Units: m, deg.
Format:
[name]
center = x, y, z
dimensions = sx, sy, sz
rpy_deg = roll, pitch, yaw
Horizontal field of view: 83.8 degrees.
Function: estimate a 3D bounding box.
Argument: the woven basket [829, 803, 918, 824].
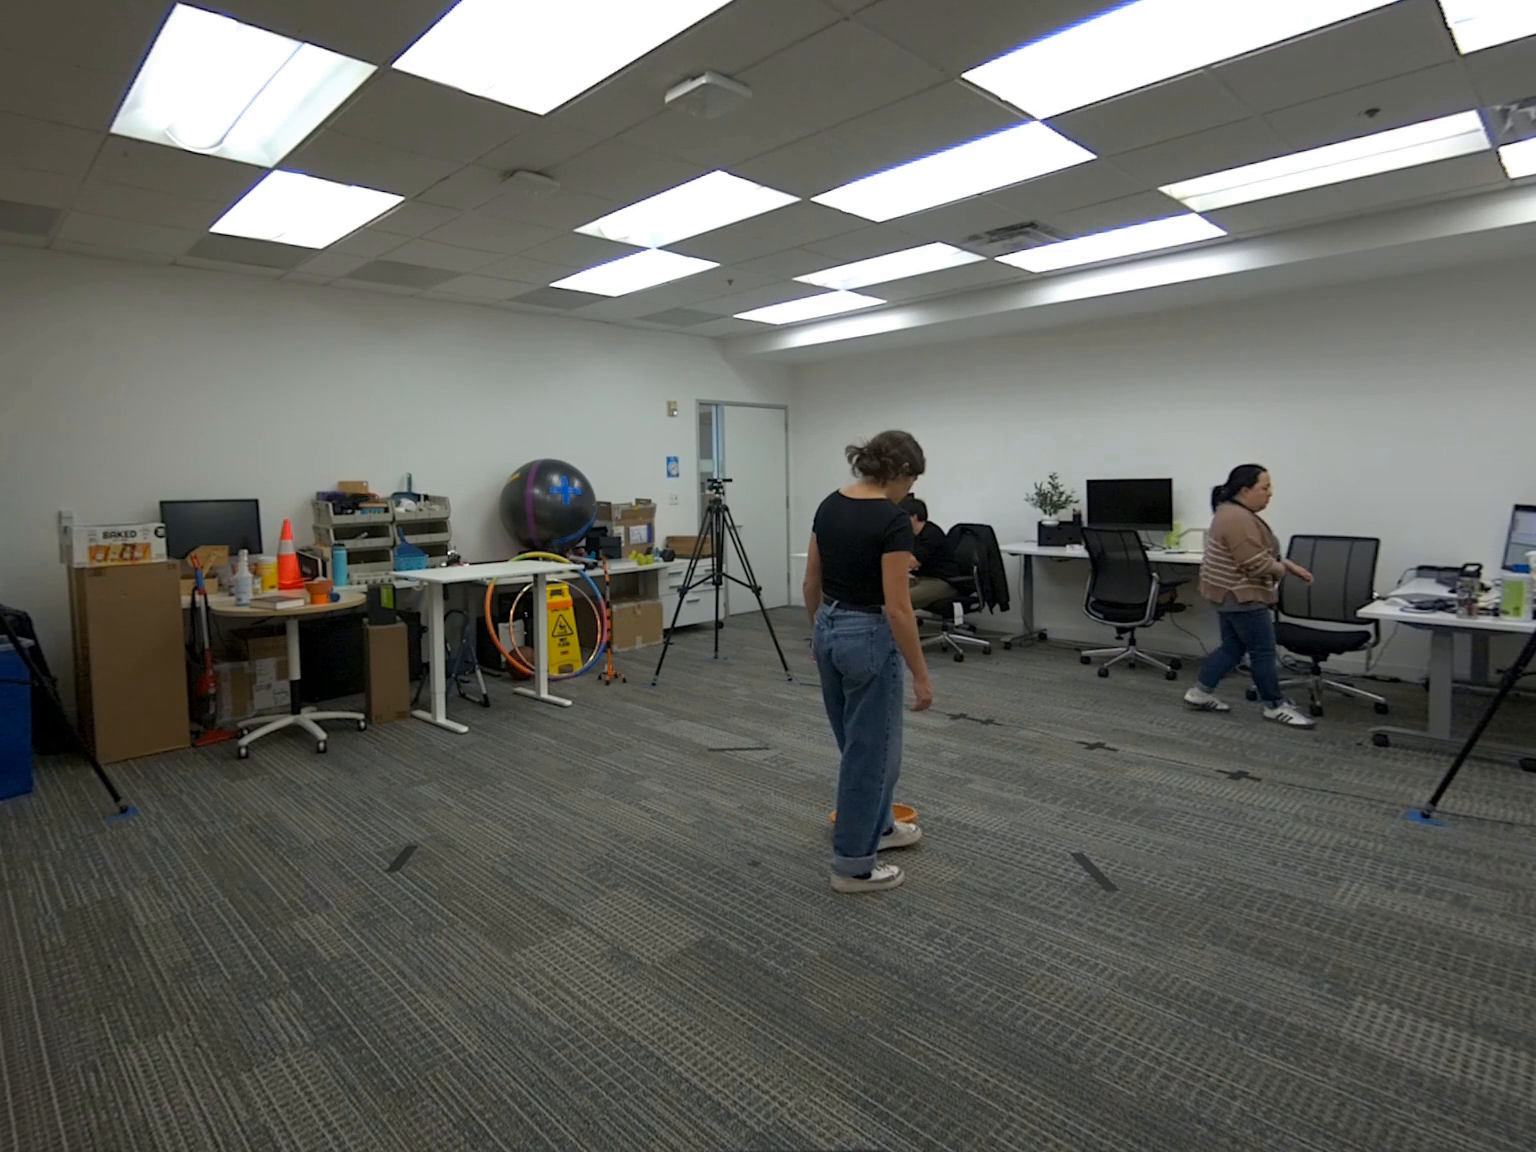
[woven basket]
center = 0.410, 0.966, 3.357
dimensions = 0.346, 0.073, 0.255
rpy_deg = -3, 1, -13
